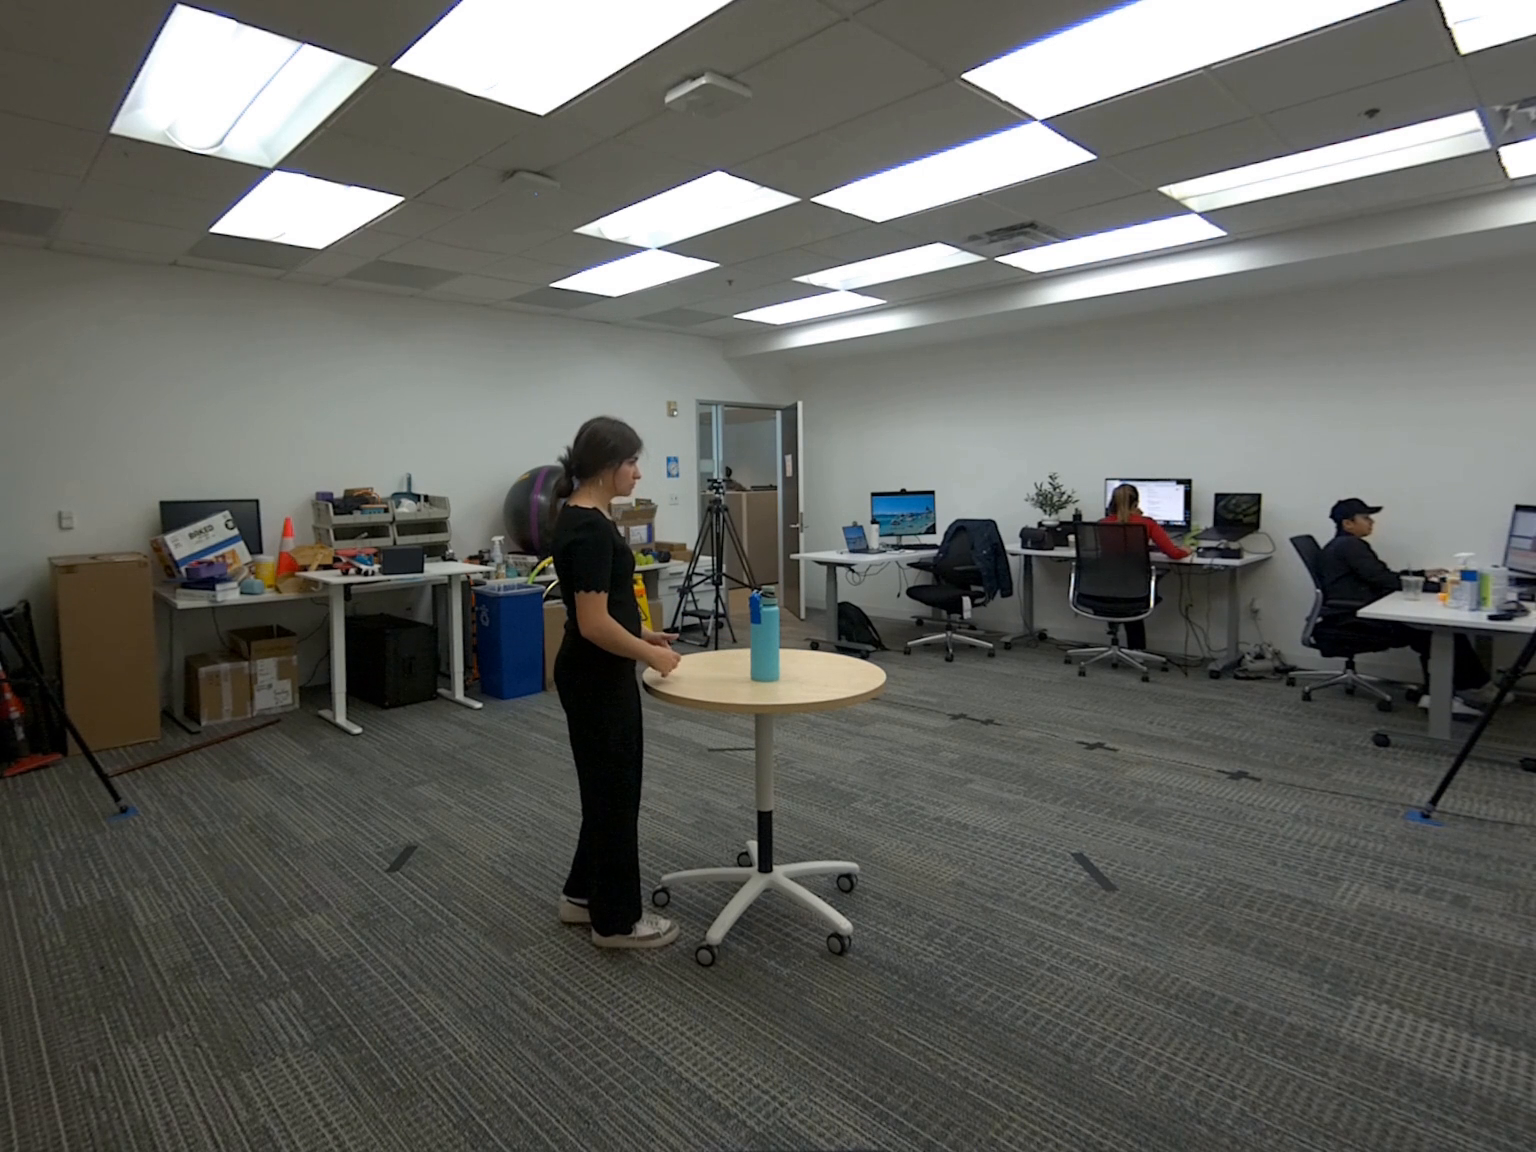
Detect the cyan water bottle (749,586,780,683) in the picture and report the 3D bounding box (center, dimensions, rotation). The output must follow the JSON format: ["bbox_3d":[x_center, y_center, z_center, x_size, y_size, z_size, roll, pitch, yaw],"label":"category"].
[{"bbox_3d":[-0.014,0.175,2.611,0.092,0.282,0.093,-2,4,-1],"label":"cyan water bottle"}]
